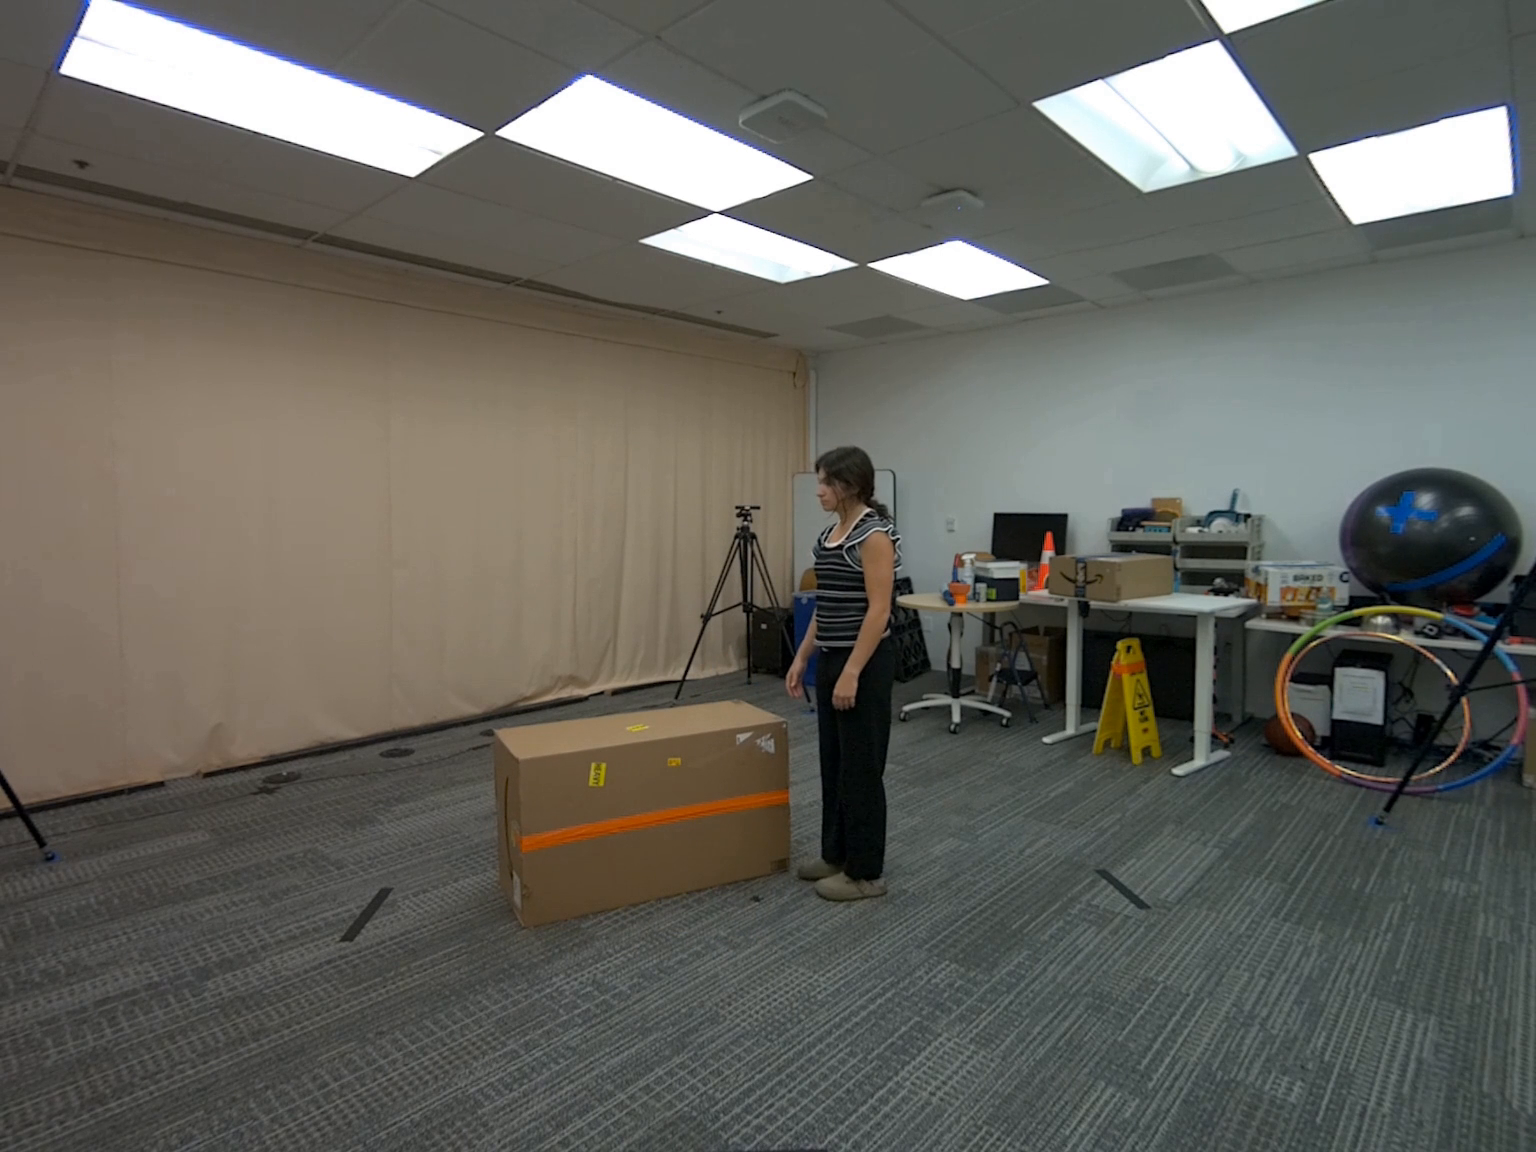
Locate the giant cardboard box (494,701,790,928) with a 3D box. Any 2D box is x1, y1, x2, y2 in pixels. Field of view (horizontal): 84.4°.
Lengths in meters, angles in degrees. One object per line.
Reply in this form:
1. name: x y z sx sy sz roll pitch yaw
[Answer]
1. giant cardboard box: -0.468 0.842 3.169 1.001 0.576 0.437 -3 4 -26
